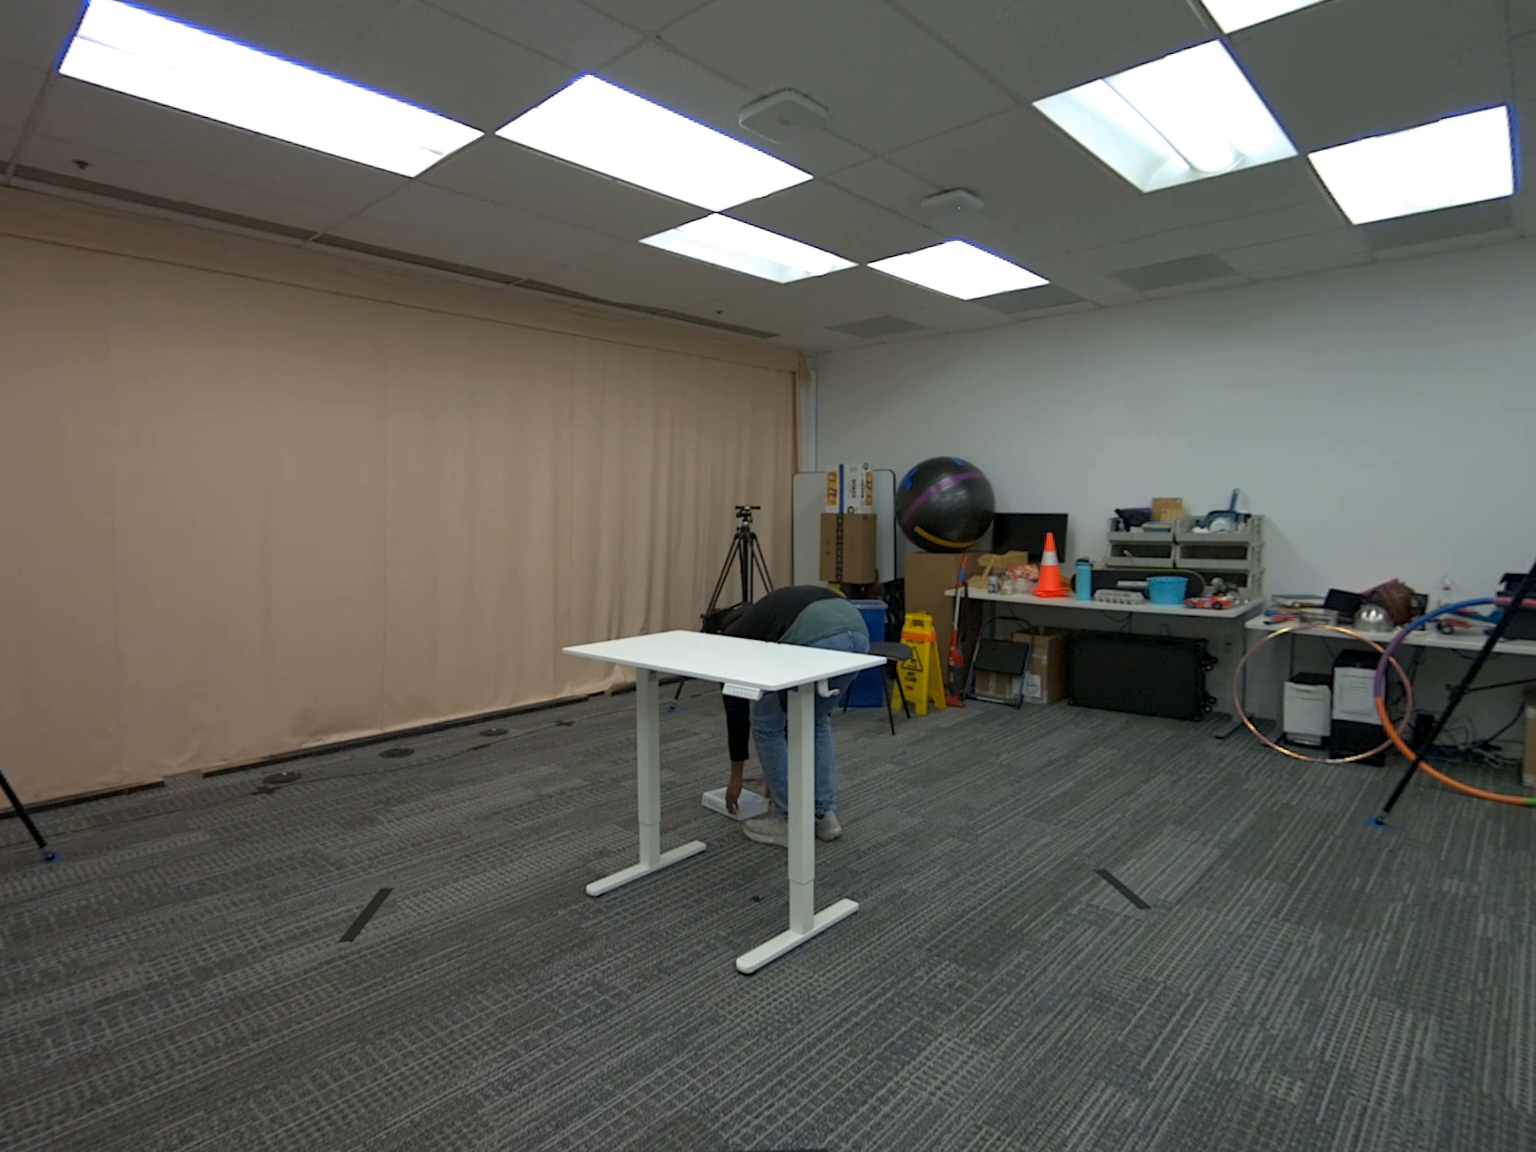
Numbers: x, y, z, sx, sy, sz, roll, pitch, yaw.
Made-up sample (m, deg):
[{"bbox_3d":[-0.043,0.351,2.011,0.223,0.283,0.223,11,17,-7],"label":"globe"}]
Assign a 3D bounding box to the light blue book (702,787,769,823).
[{"bbox_3d":[-0.146,1.039,3.876,0.185,0.059,0.270,-4,6,-40],"label":"light blue book"}]
